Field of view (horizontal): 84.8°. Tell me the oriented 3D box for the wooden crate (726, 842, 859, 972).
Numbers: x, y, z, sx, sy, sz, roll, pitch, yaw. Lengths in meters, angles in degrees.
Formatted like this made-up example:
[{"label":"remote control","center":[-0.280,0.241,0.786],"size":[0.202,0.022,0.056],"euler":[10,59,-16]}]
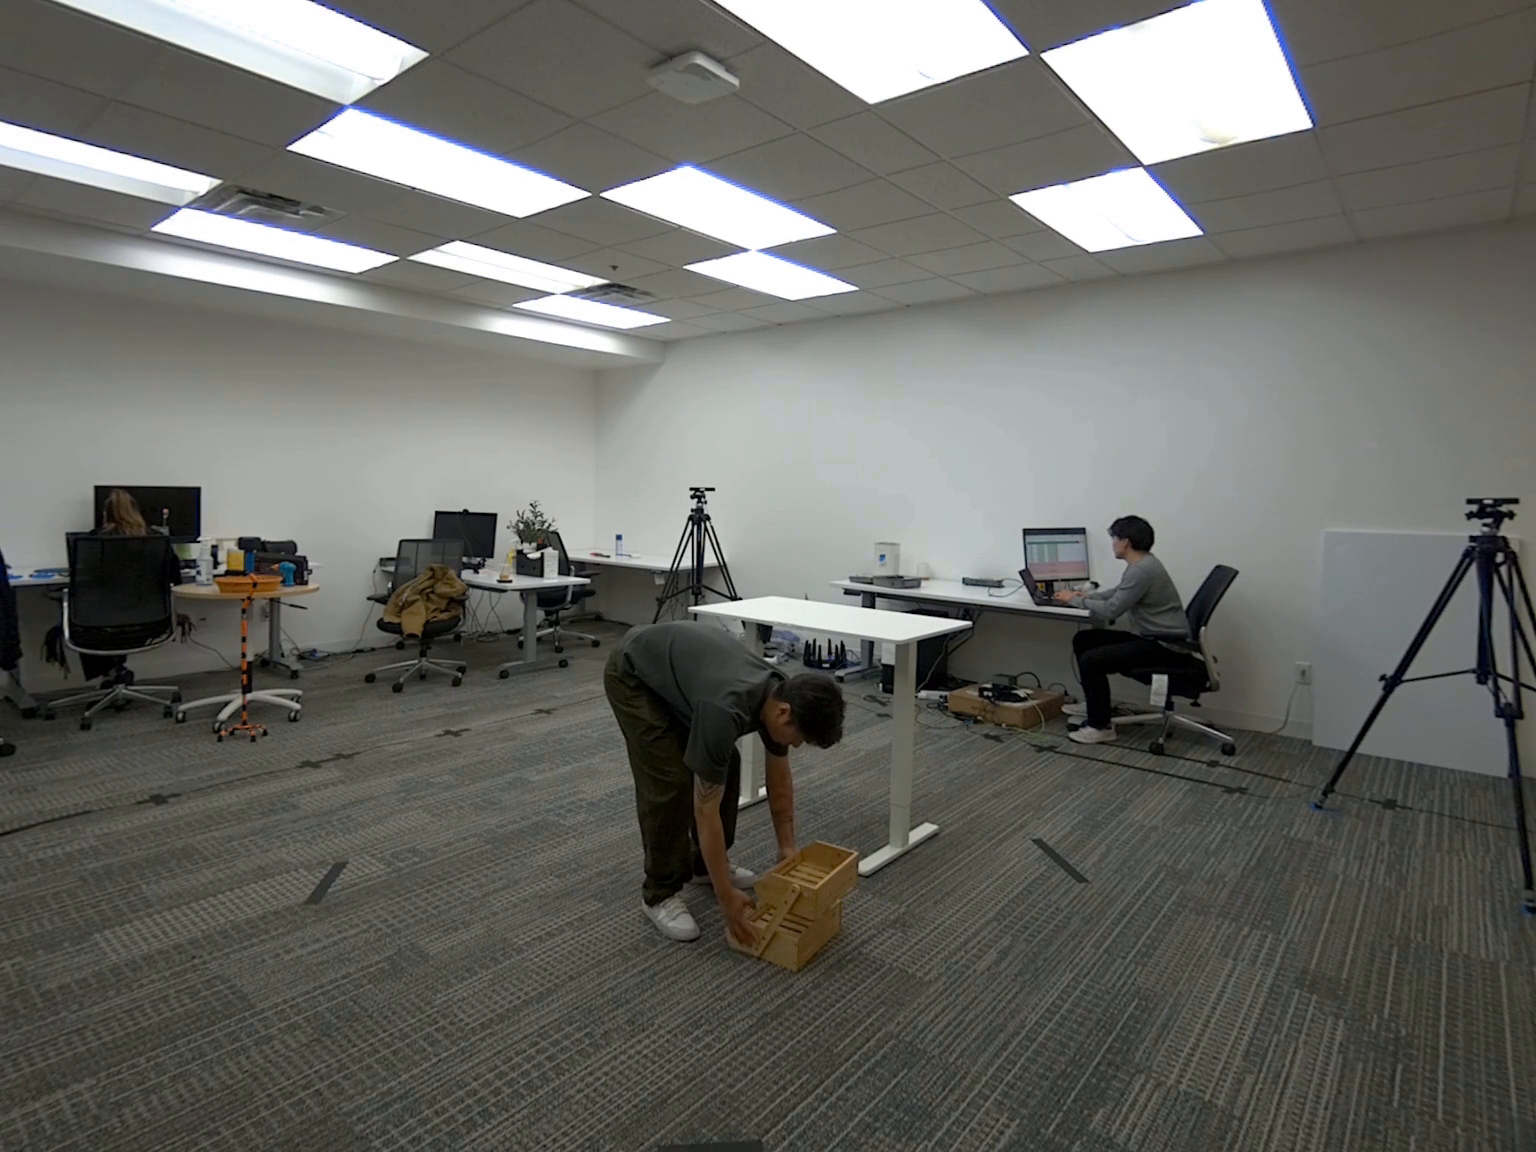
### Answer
[{"label":"wooden crate","center":[0.068,0.986,2.625],"size":[0.311,0.272,0.316],"euler":[5,5,31]}]
